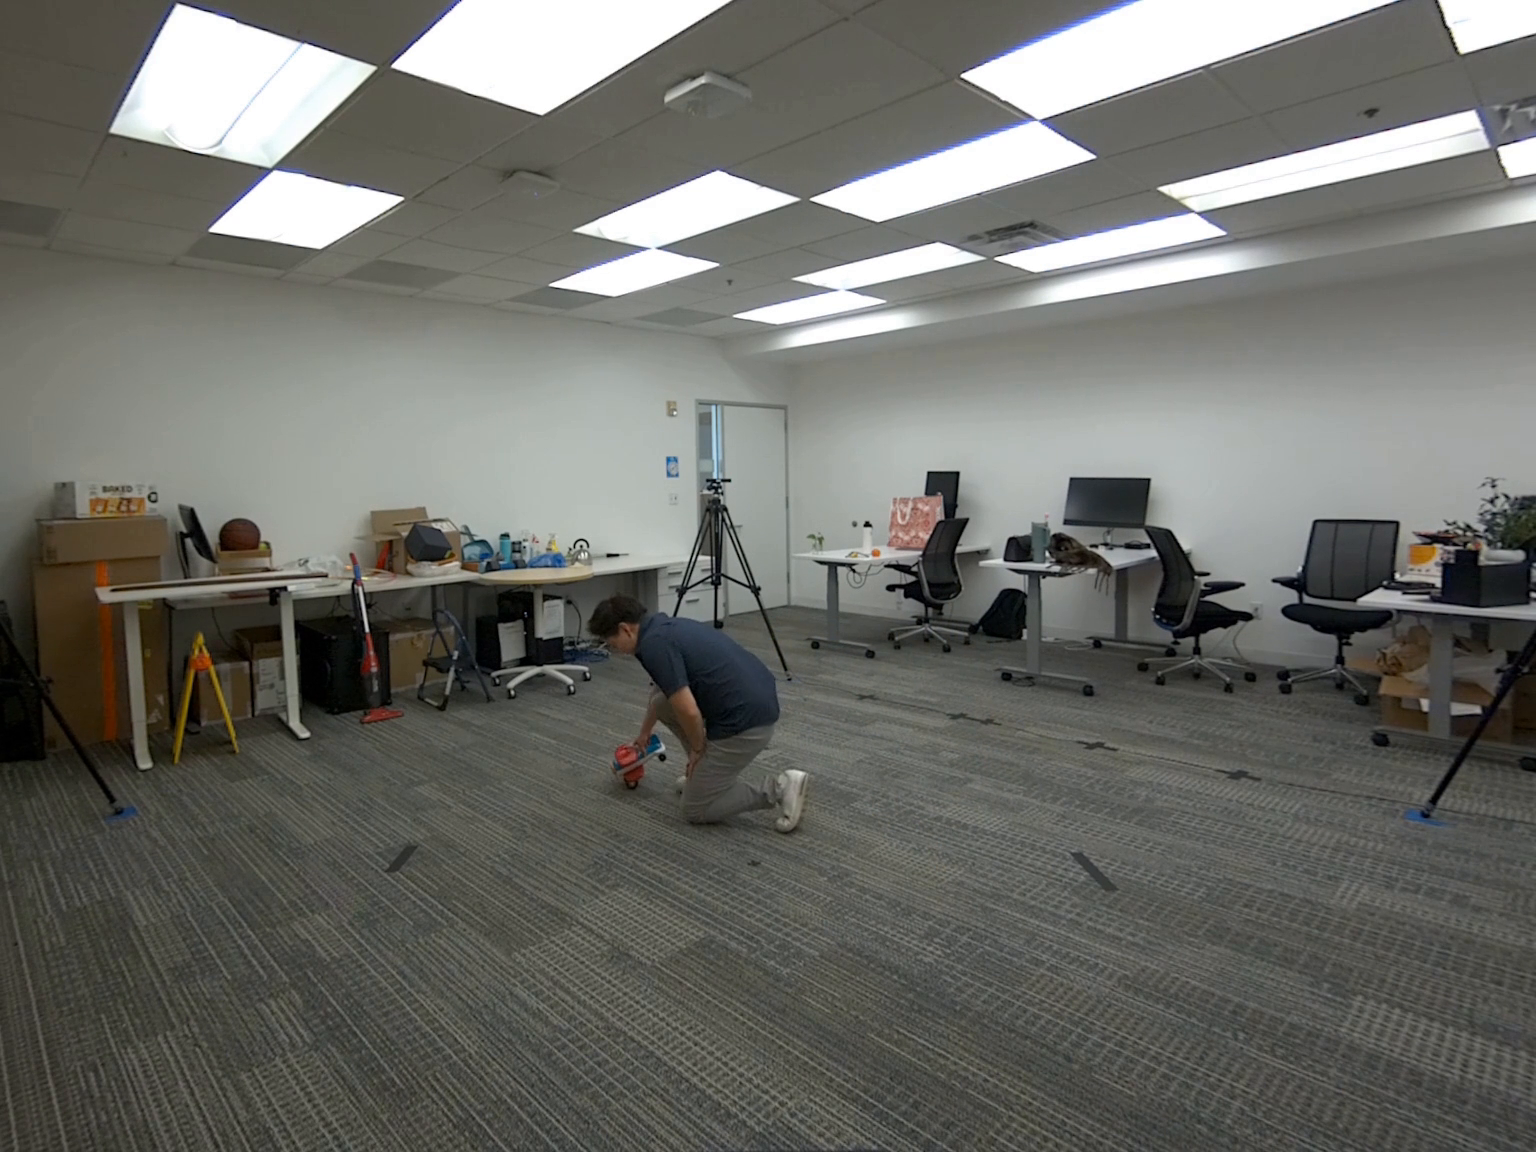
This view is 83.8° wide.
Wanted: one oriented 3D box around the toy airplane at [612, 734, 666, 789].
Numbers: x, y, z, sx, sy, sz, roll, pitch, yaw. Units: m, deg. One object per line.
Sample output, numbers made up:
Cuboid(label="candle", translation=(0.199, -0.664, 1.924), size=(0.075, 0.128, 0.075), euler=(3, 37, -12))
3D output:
Cuboid(label="toy airplane", translation=(-0.605, 0.854, 3.954), size=(0.255, 0.154, 0.259), euler=(-19, 22, 49))
